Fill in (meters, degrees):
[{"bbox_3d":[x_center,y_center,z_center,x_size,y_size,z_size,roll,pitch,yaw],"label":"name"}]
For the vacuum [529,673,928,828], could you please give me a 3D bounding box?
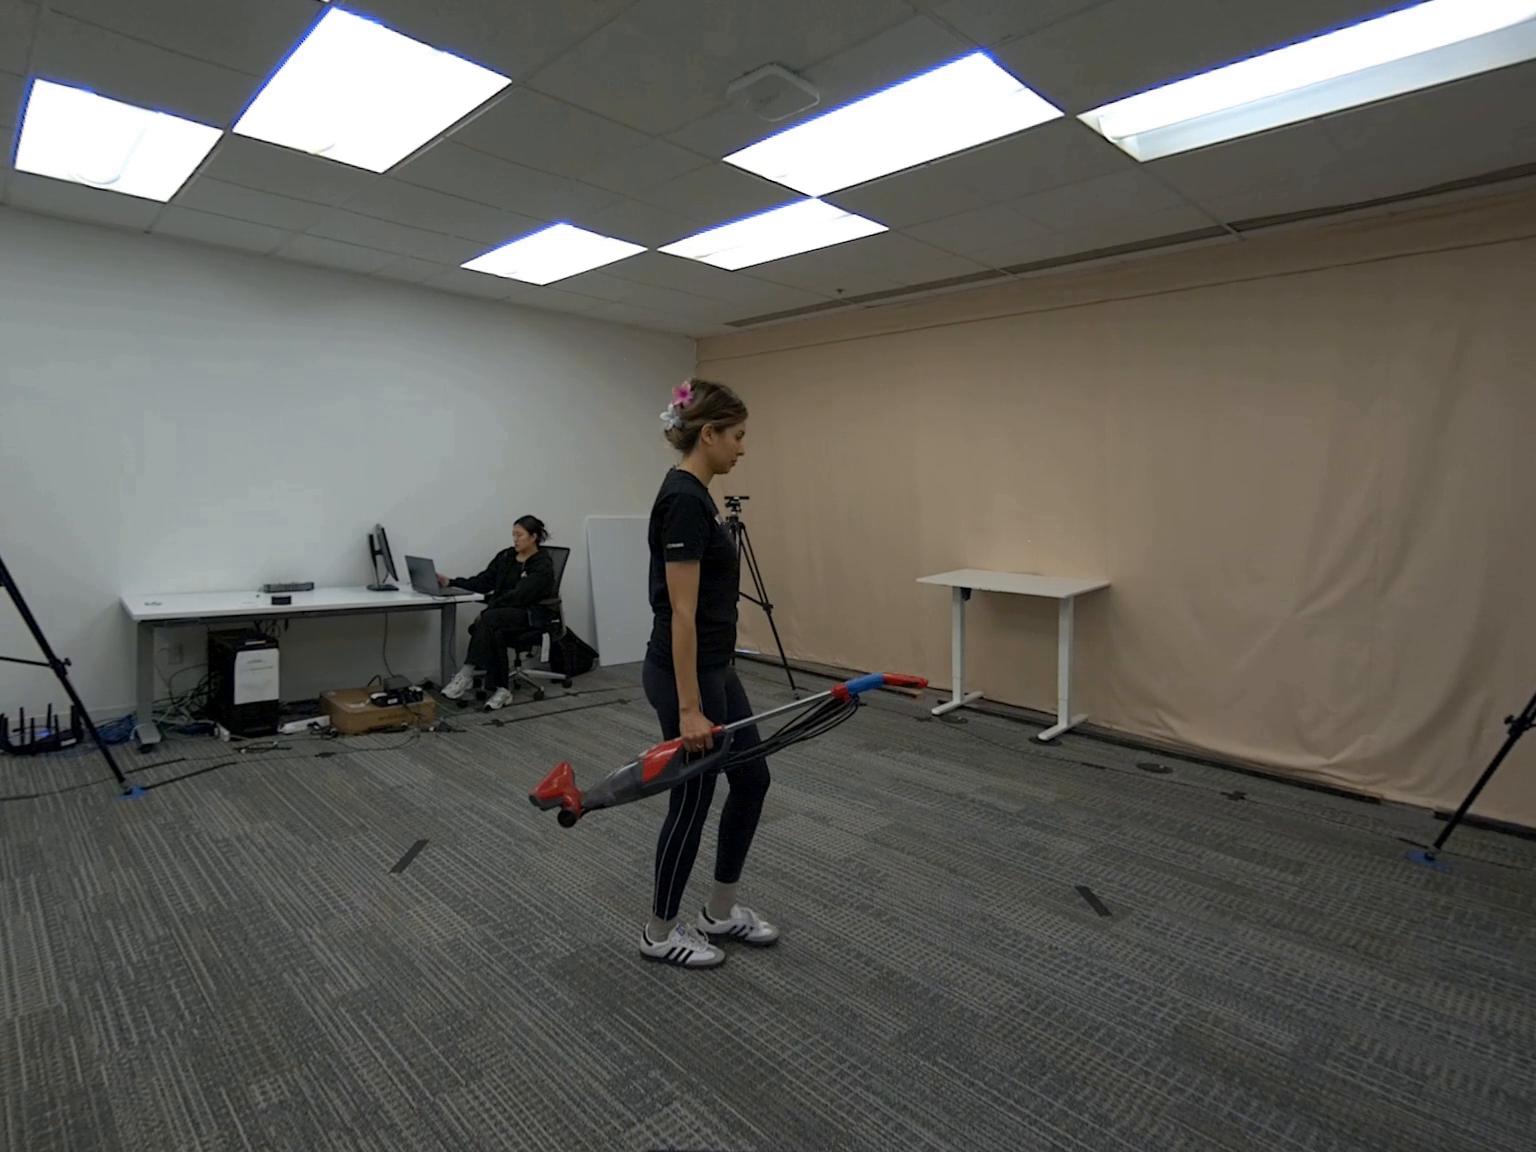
[{"bbox_3d":[-0.097,0.445,2.216,1.054,0.143,0.254,-21,11,9],"label":"vacuum"}]
